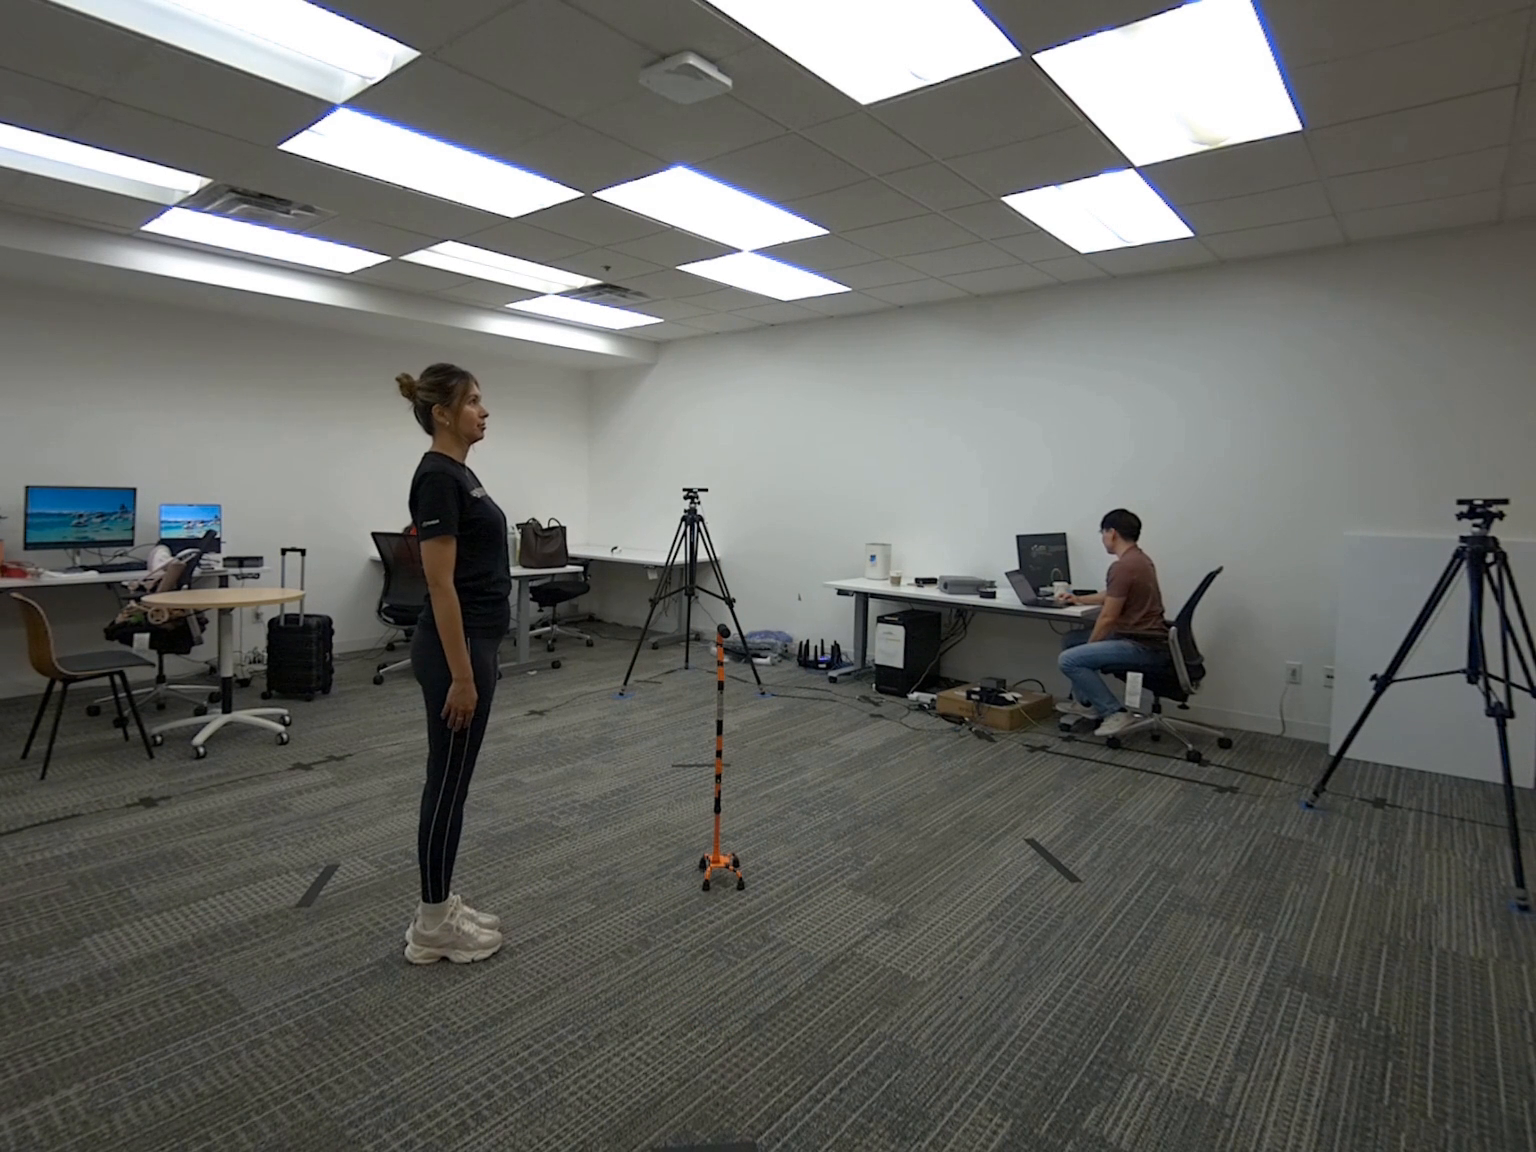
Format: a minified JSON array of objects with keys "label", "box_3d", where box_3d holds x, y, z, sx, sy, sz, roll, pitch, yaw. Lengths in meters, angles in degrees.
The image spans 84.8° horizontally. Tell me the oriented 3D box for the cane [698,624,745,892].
[{"label":"cane","box_3d":[-0.165,0.626,3.026,0.150,0.906,0.208,1,2,-8]}]
